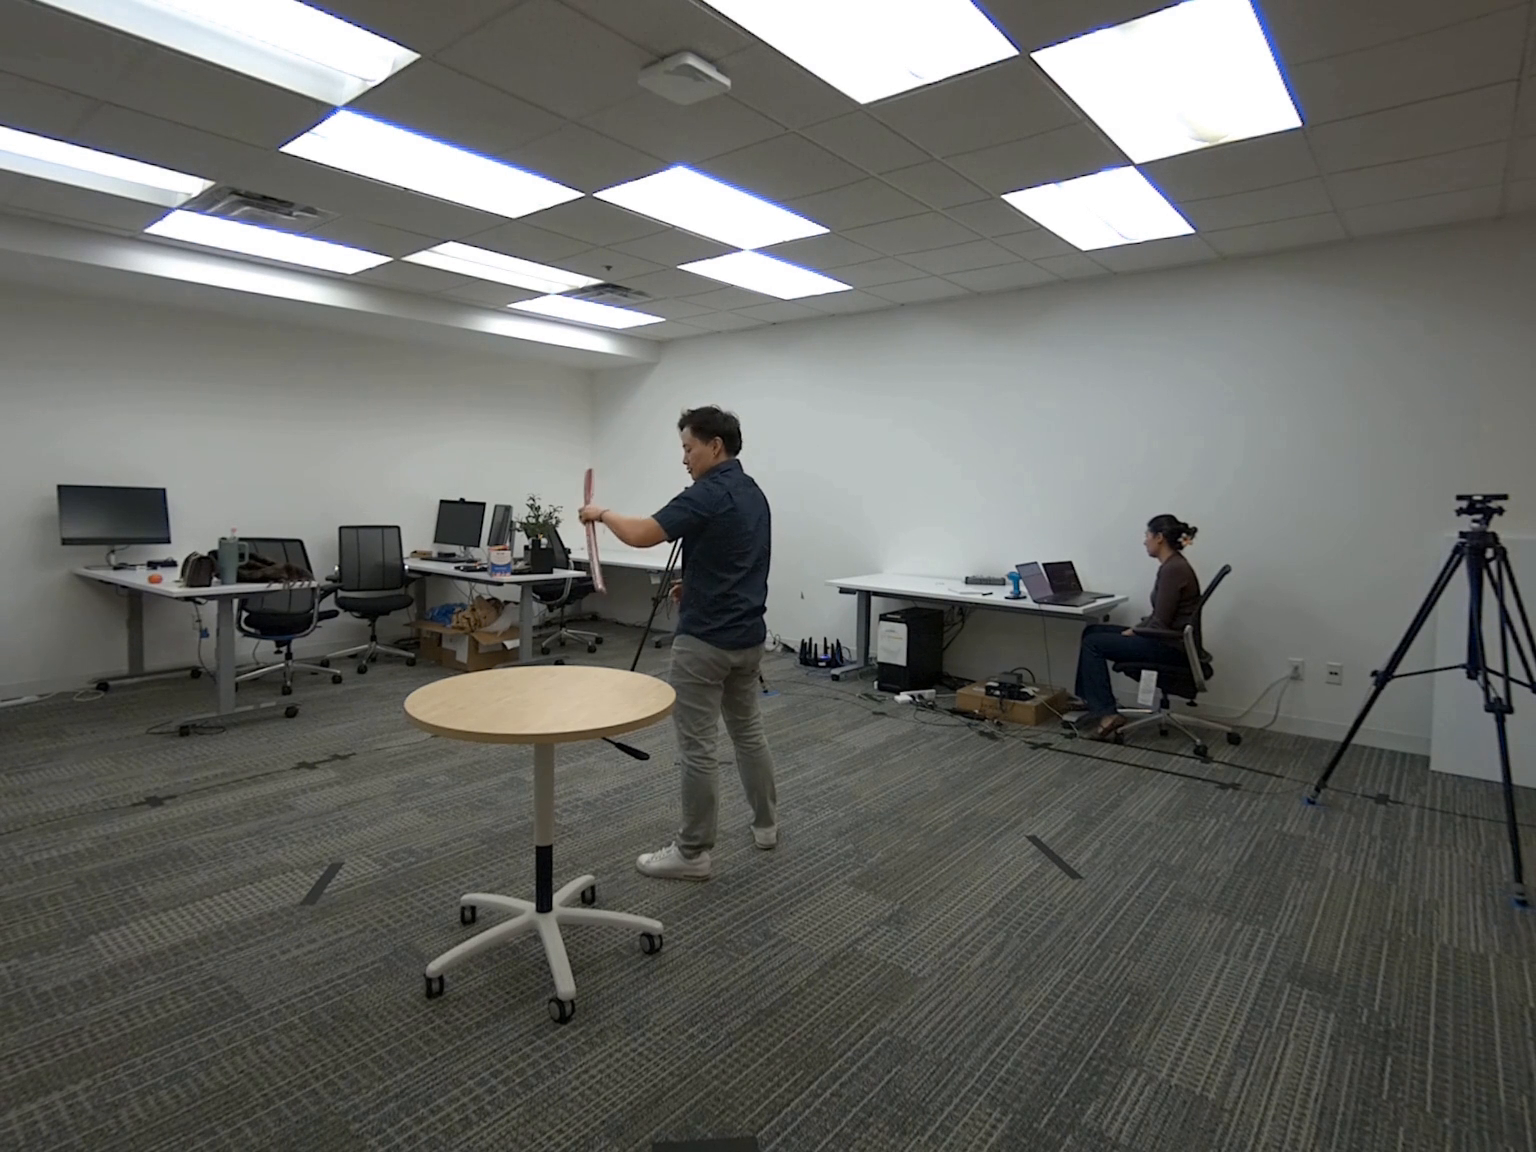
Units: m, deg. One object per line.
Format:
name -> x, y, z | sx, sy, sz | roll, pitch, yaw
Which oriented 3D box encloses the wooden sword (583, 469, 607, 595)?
wooden sword -> -0.638, -0.173, 3.060 | 0.023, 0.051, 1.060 | 18, 22, -23
